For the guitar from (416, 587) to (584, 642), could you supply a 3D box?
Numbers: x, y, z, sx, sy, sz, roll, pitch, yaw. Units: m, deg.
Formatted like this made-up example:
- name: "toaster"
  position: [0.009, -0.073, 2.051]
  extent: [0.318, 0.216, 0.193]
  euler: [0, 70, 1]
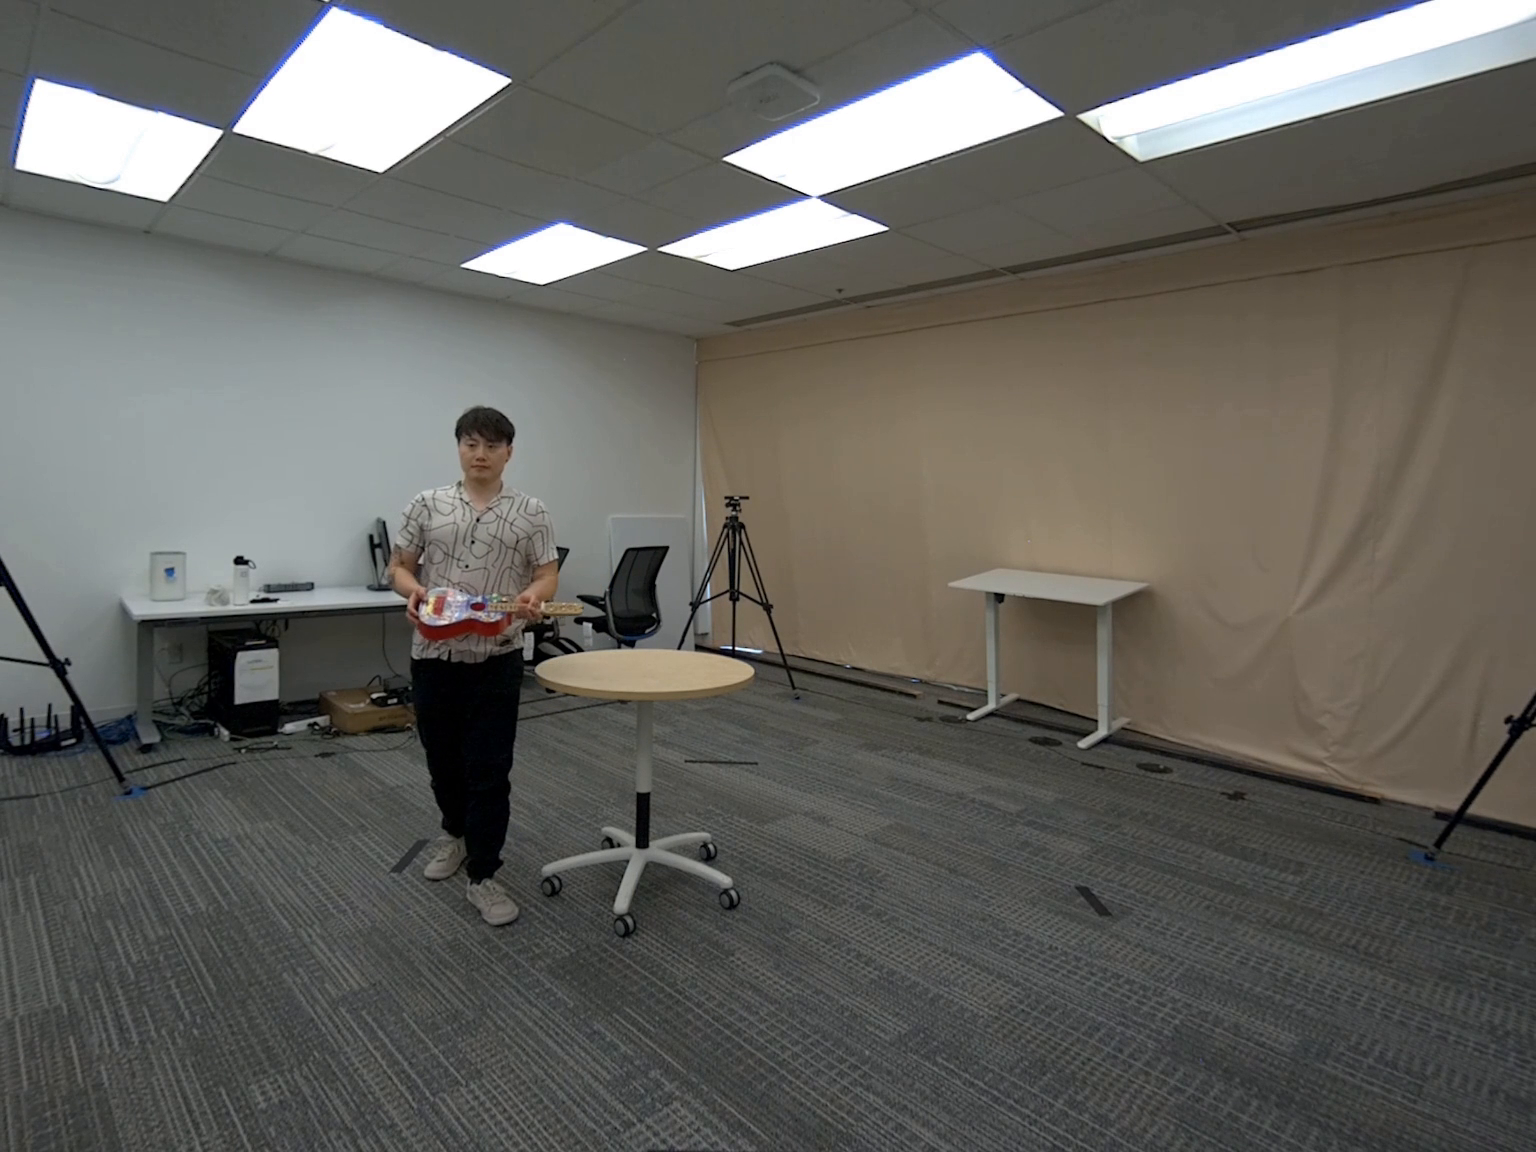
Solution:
- name: "guitar"
  position: [-0.839, 0.136, 2.610]
  extent: [0.496, 0.069, 0.197]
  euler: [7, 32, -4]
